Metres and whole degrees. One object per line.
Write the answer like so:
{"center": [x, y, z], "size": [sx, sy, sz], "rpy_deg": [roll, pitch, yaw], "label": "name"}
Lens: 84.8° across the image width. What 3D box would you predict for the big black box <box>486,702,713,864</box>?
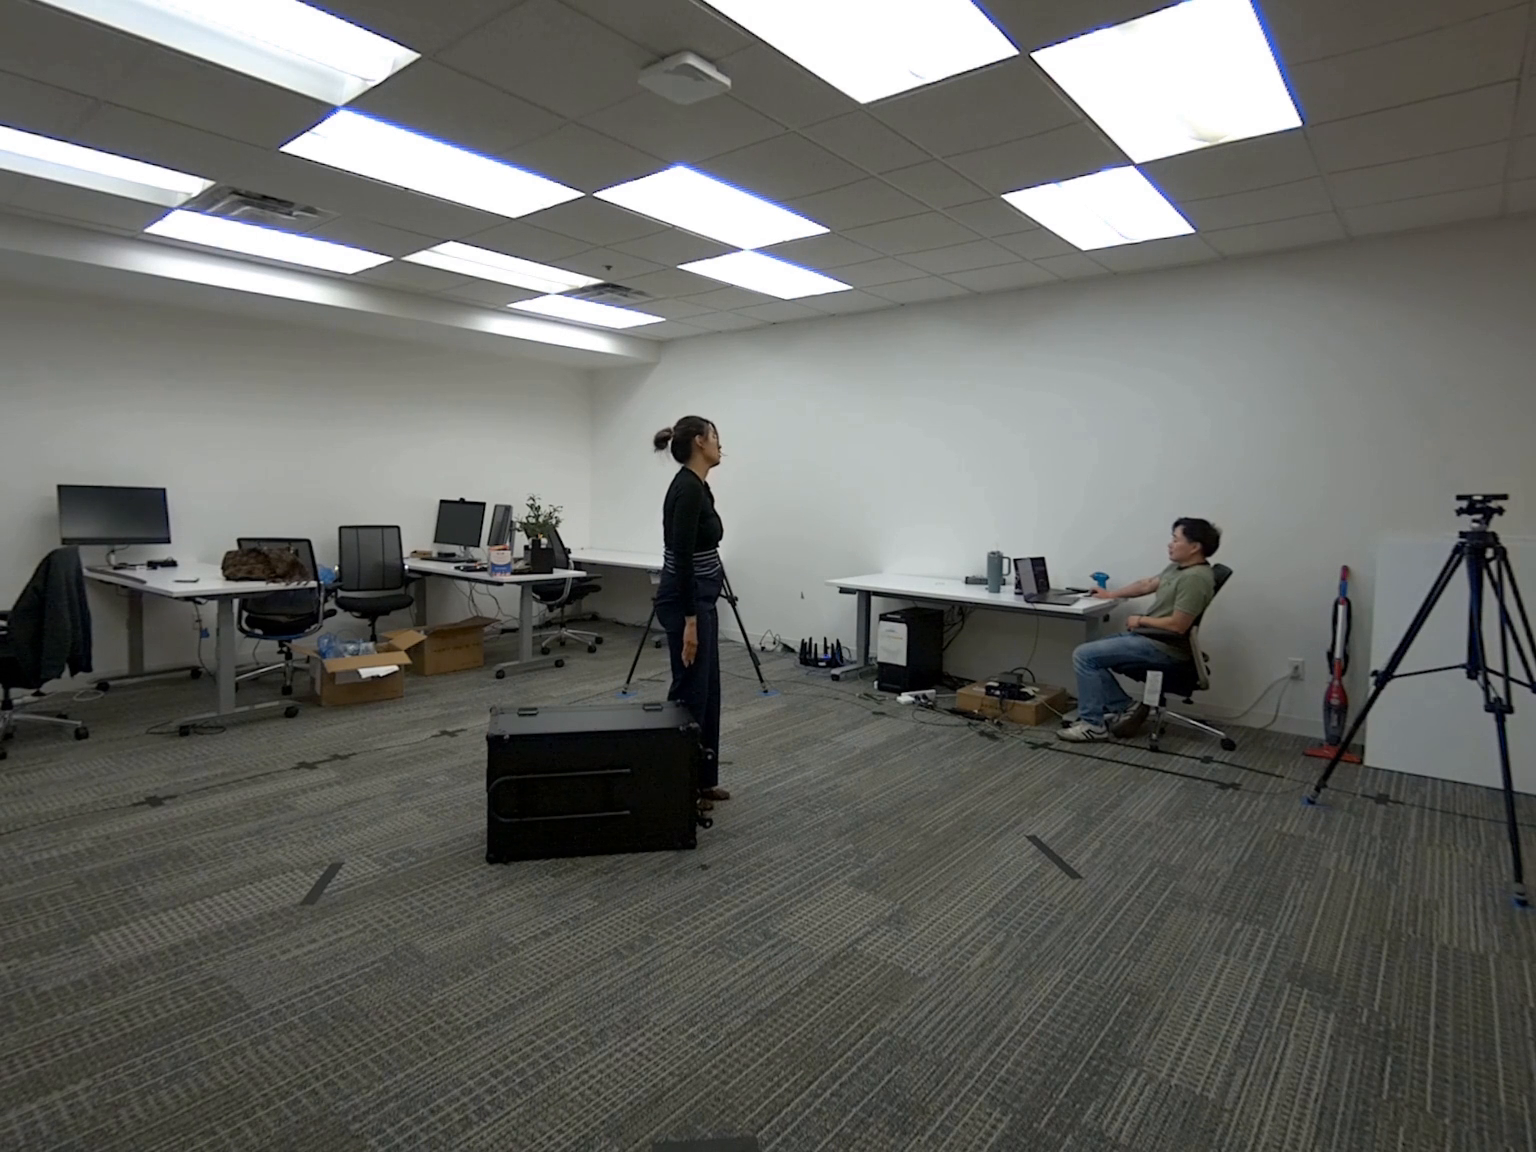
{"center": [-0.675, 0.780, 3.330], "size": [0.850, 0.519, 0.404], "rpy_deg": [0, 6, -13], "label": "big black box"}
